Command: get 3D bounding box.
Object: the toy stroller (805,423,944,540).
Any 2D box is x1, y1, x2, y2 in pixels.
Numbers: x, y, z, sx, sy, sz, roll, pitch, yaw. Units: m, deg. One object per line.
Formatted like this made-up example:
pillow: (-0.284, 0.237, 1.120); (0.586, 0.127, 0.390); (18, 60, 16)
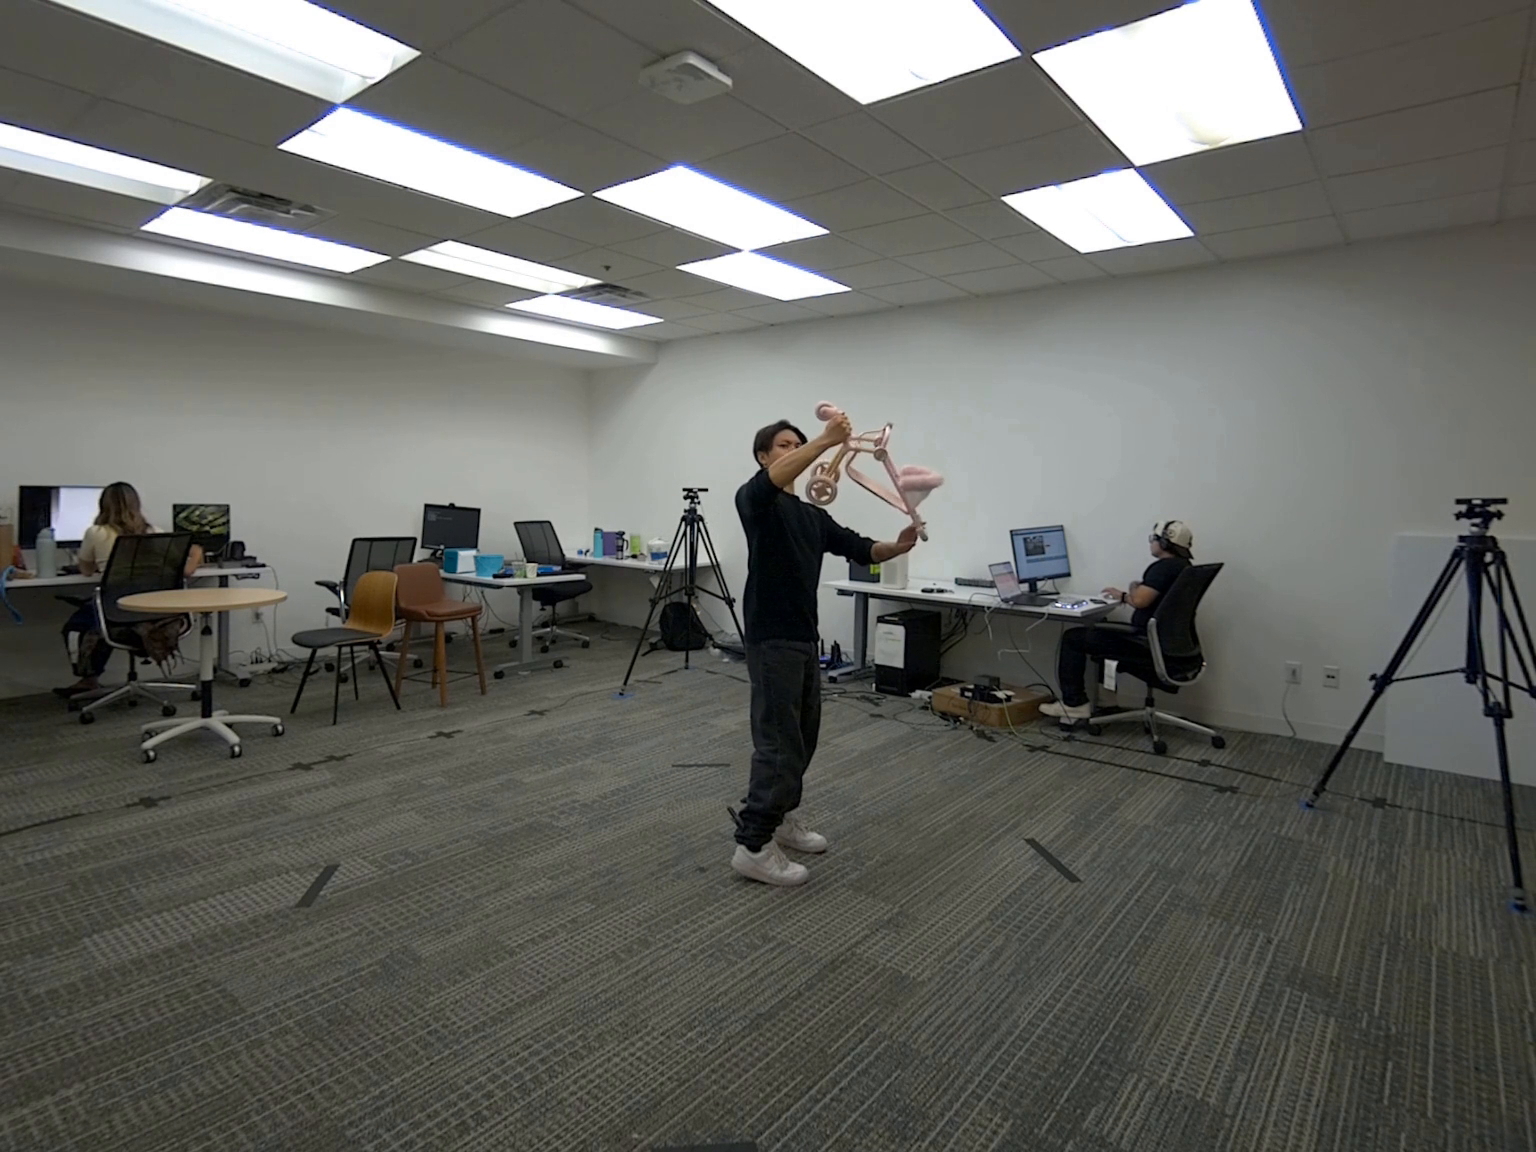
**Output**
toy stroller: (0.368, -0.382, 3.007); (0.539, 0.338, 0.282); (21, 15, 5)
